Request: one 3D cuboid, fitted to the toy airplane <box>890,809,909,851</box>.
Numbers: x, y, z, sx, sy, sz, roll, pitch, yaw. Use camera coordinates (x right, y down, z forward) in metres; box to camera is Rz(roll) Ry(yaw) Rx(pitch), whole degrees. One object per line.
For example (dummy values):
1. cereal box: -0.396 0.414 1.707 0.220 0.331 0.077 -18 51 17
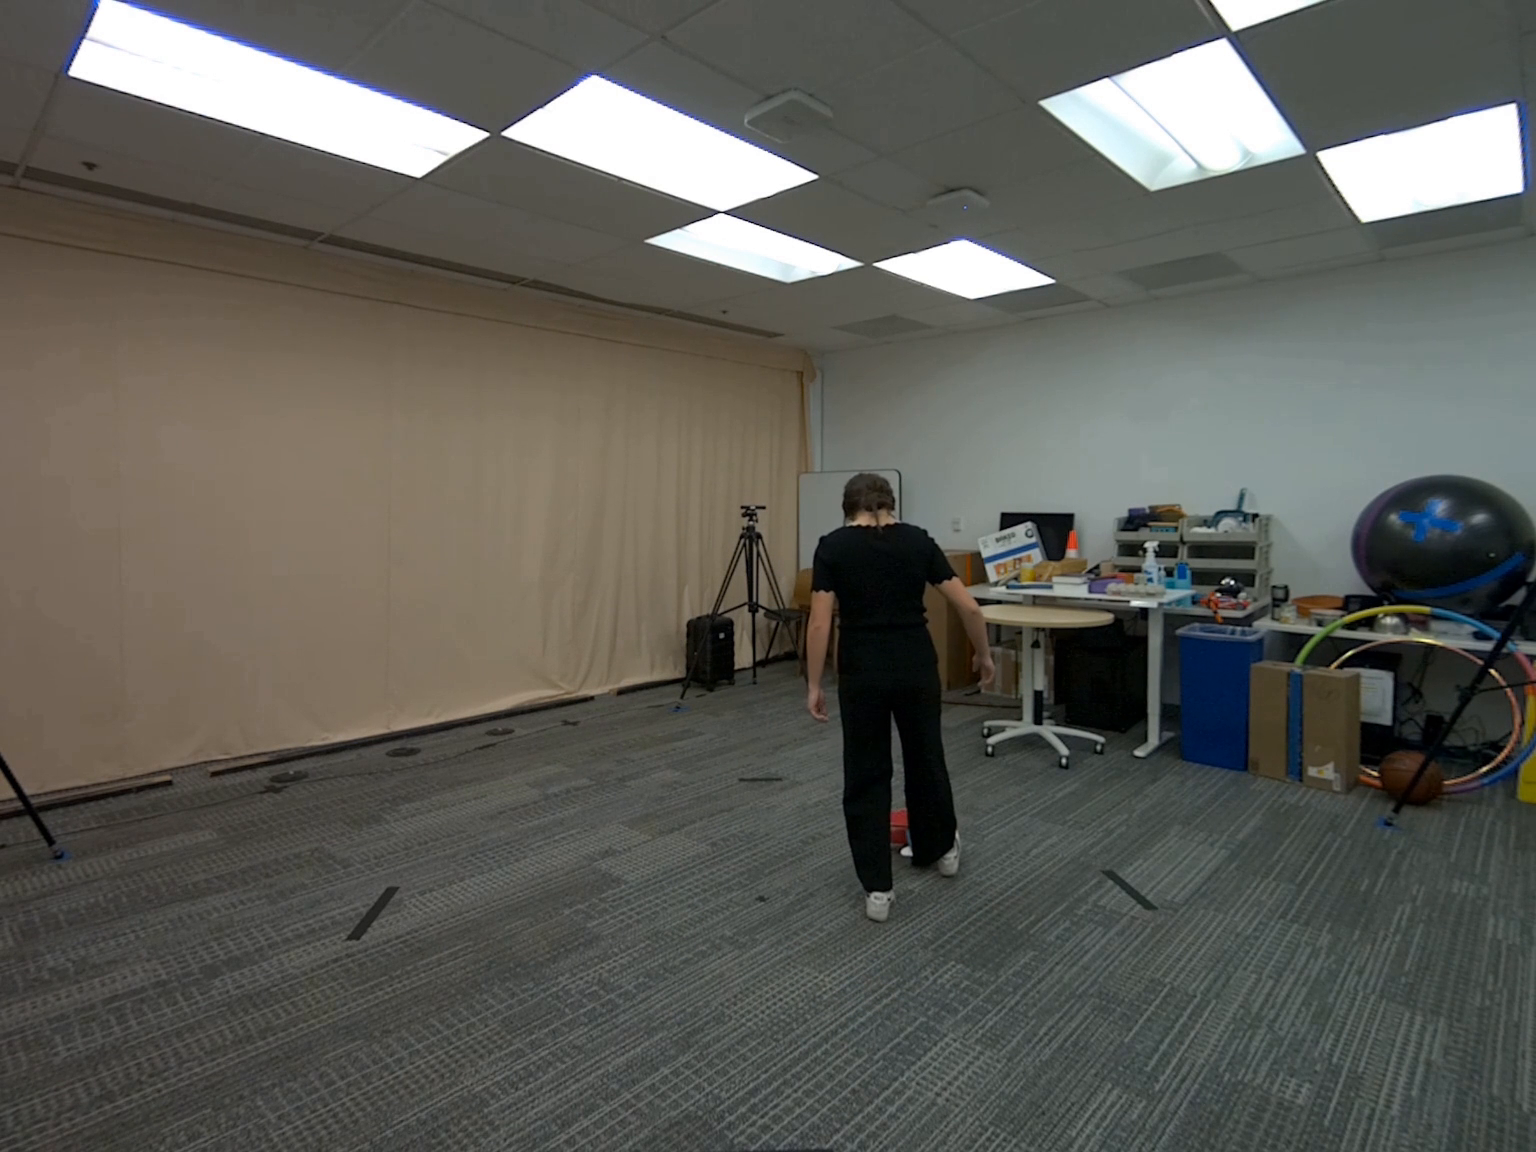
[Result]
1. toy airplane: 0.617 1.035 3.331 0.247 0.156 0.264 -7 3 -17
